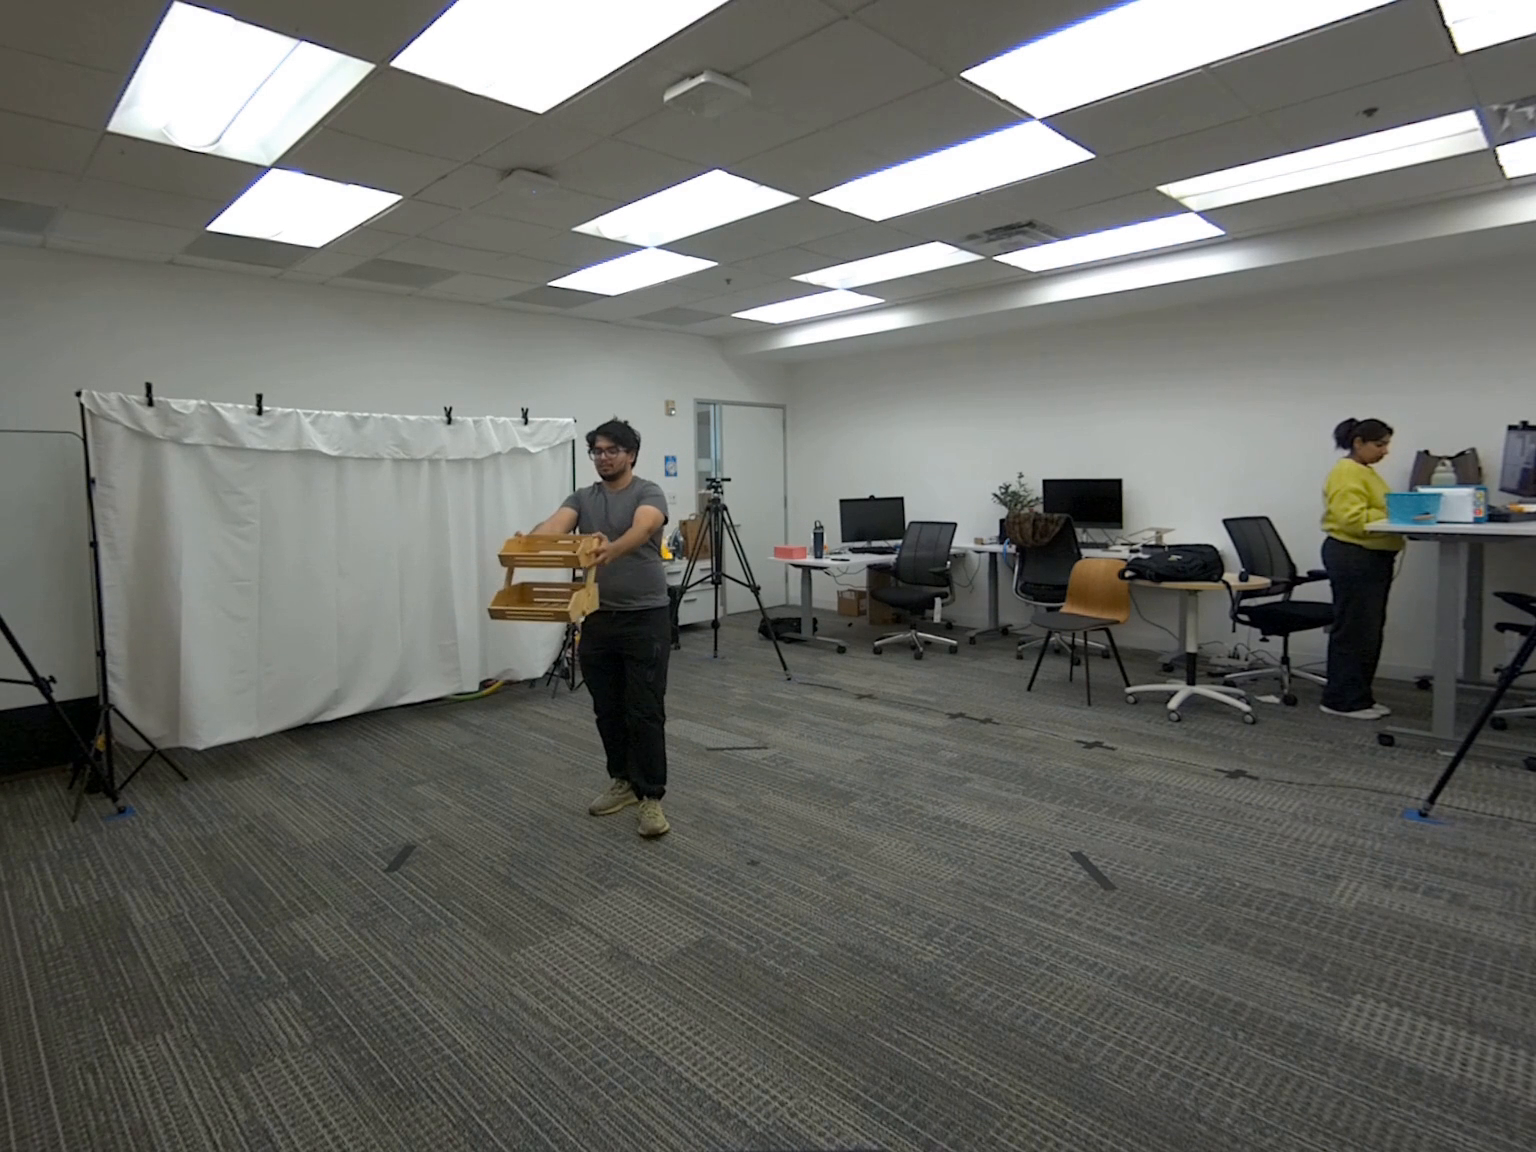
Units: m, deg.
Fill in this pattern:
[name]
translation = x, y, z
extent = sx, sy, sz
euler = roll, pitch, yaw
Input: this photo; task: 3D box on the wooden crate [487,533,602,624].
[wooden crate]
translation = -0.781, 0.000, 2.988
extent = 0.329, 0.272, 0.300
euler = 0, 7, 12
